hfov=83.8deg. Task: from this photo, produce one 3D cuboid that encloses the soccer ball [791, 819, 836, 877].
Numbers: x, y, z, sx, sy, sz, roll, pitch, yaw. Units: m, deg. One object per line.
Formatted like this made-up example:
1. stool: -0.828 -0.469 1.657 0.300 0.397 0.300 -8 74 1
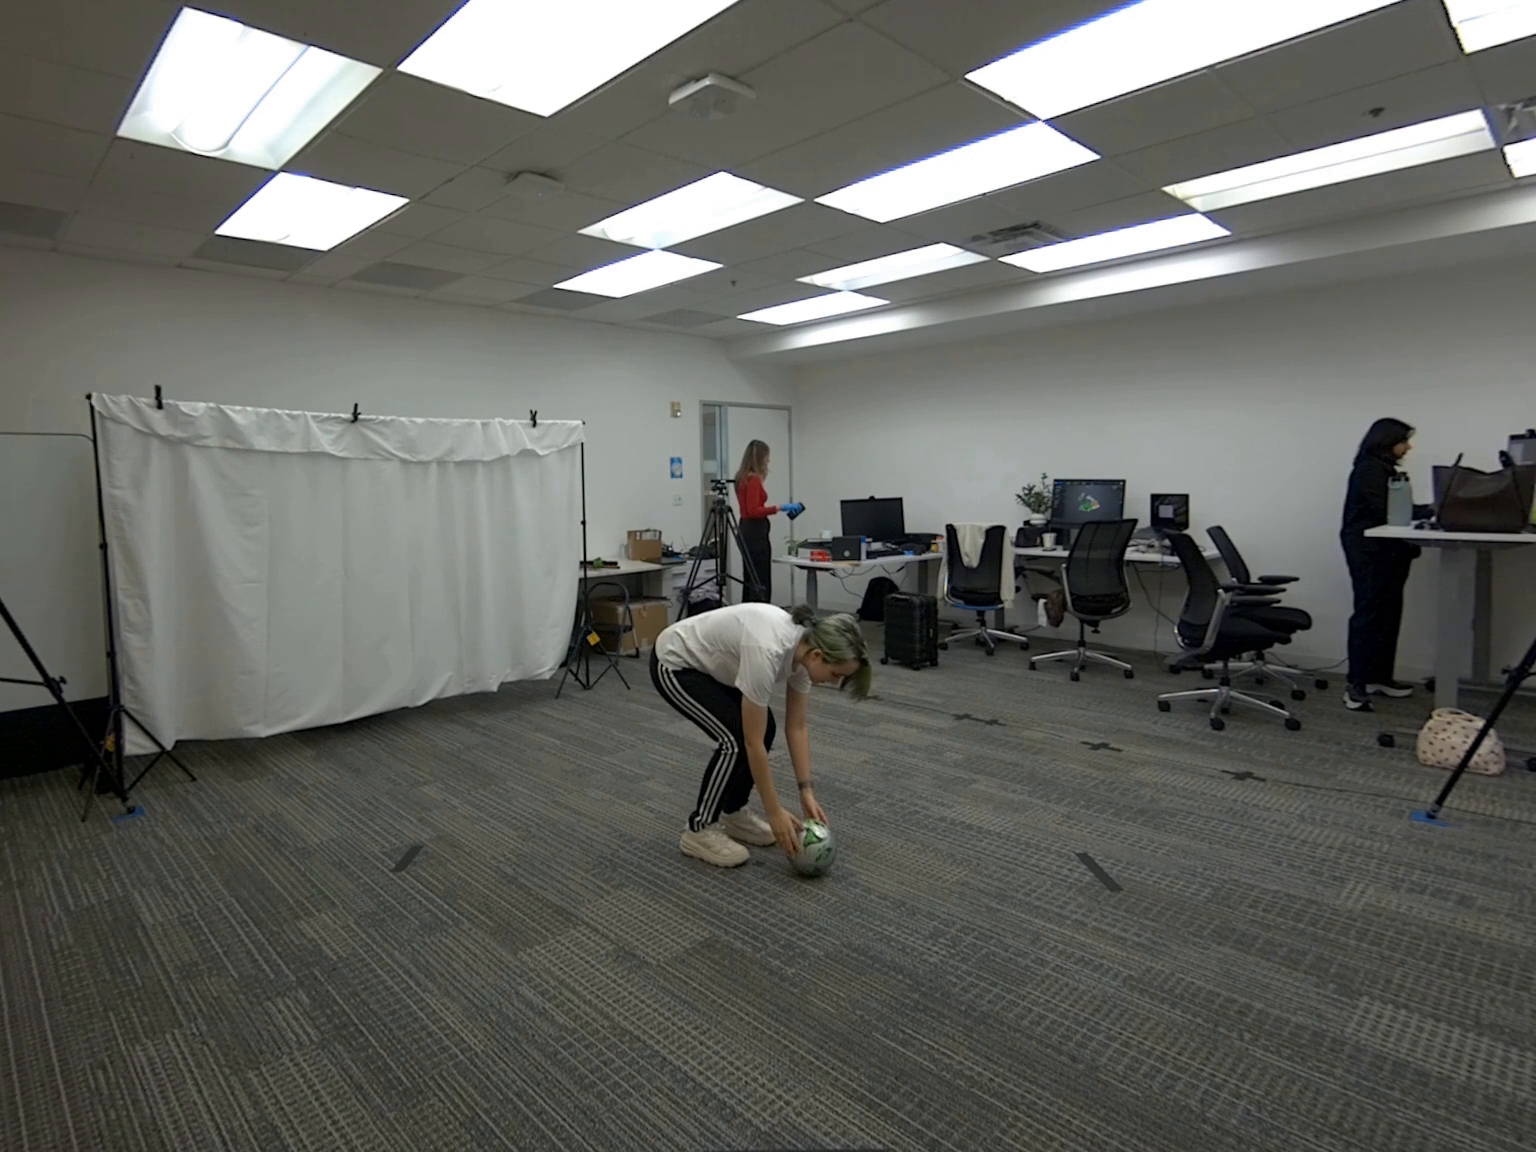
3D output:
1. soccer ball: 0.156 0.961 3.021 0.187 0.187 0.188 -1 5 -2
